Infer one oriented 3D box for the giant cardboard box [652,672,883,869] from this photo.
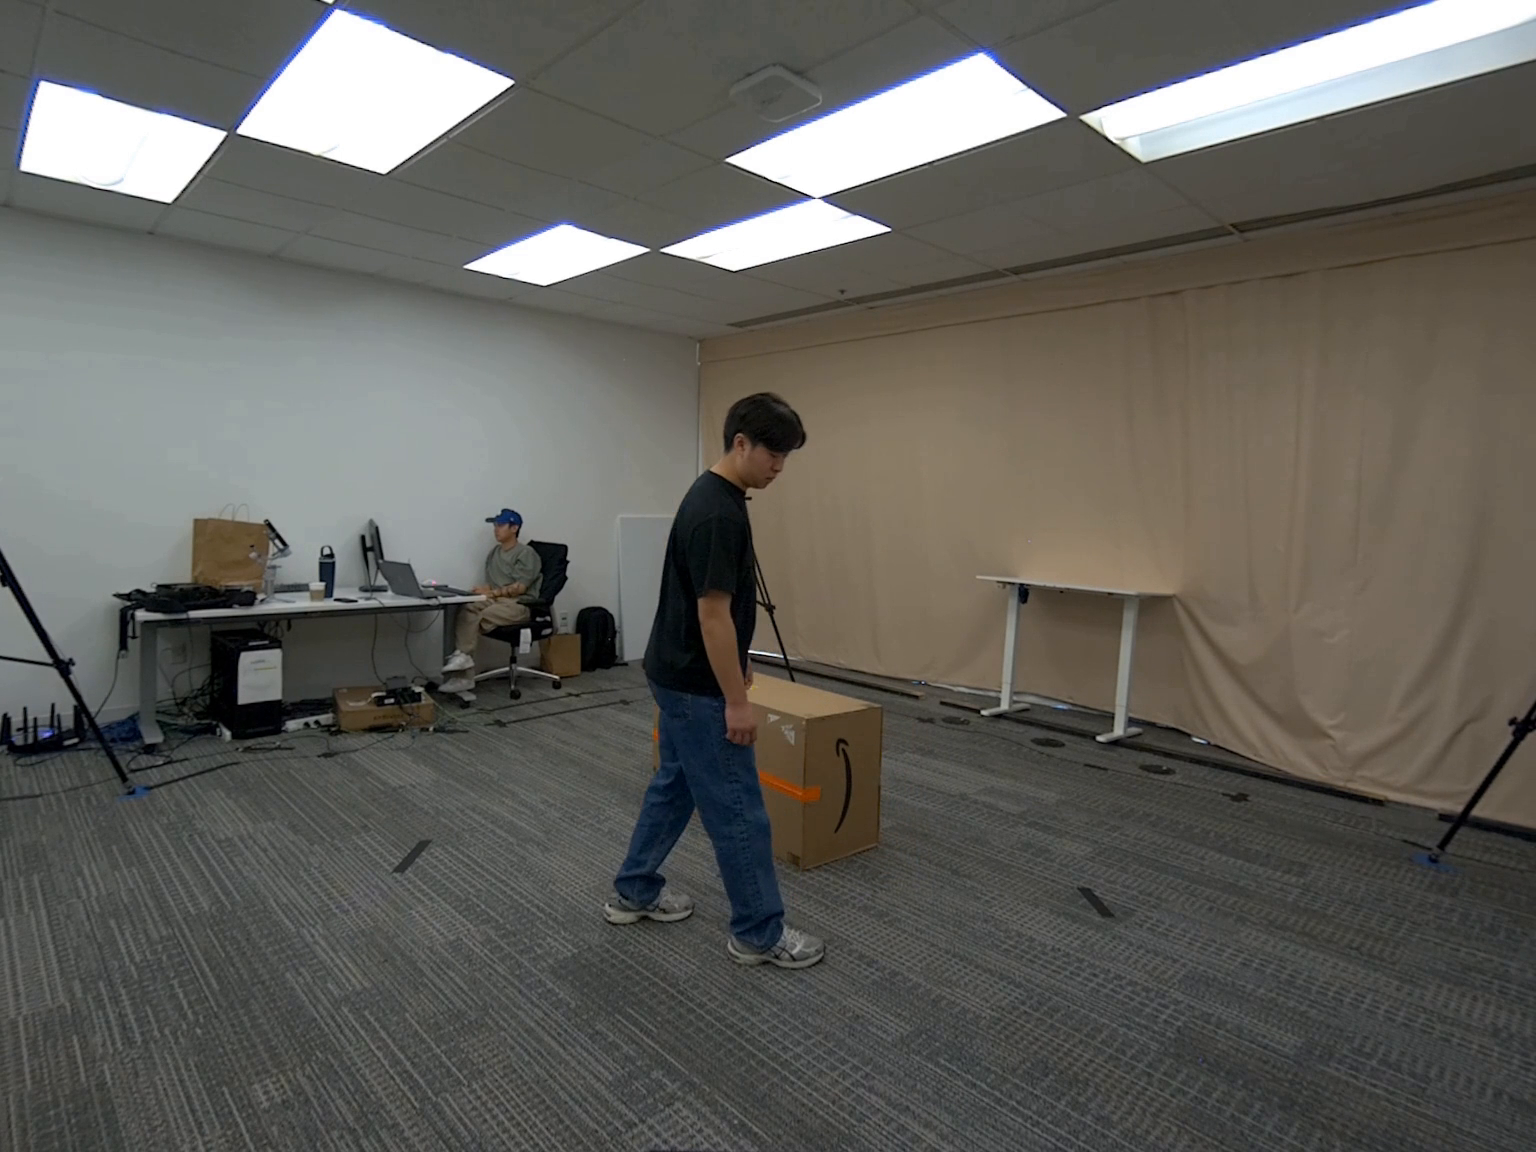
[{"bbox_3d":[-0.041,0.775,3.666,0.437,0.582,1.053,-2,5,-40],"label":"giant cardboard box"}]
